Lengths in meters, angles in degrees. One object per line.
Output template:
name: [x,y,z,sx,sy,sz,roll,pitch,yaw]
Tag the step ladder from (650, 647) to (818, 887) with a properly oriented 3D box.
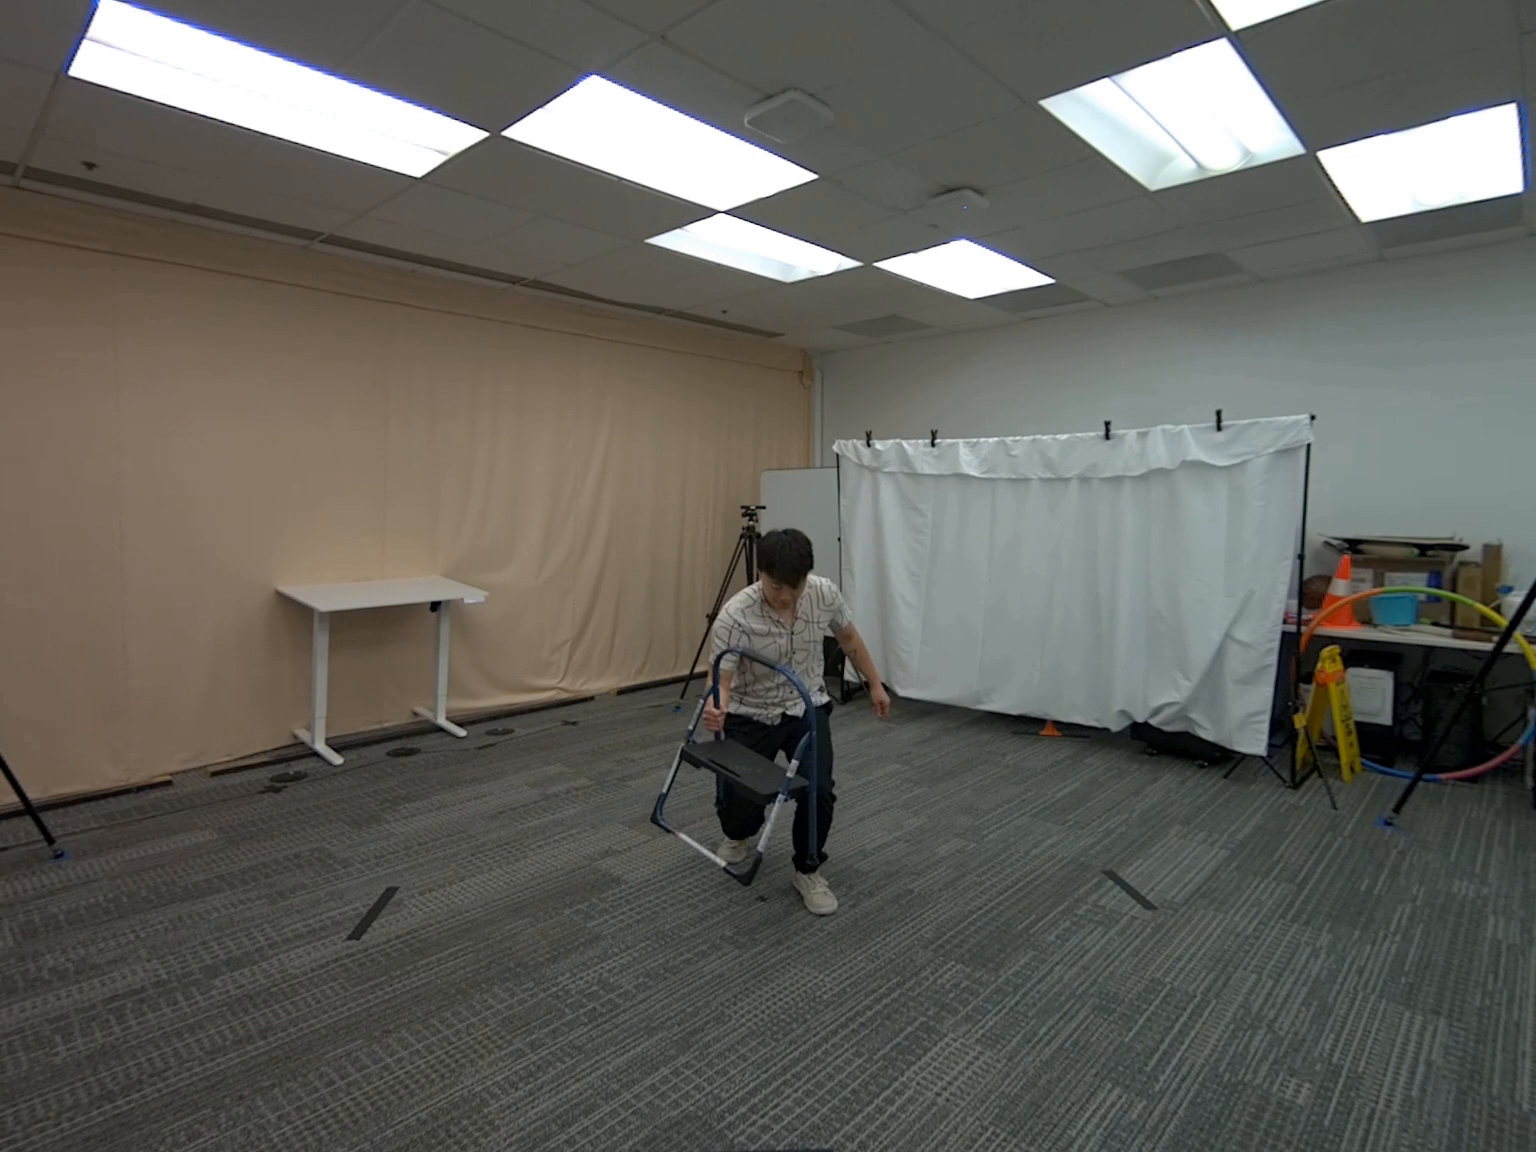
step ladder: [-0.041,0.528,2.570,0.446,0.604,0.338,17,7,39]
